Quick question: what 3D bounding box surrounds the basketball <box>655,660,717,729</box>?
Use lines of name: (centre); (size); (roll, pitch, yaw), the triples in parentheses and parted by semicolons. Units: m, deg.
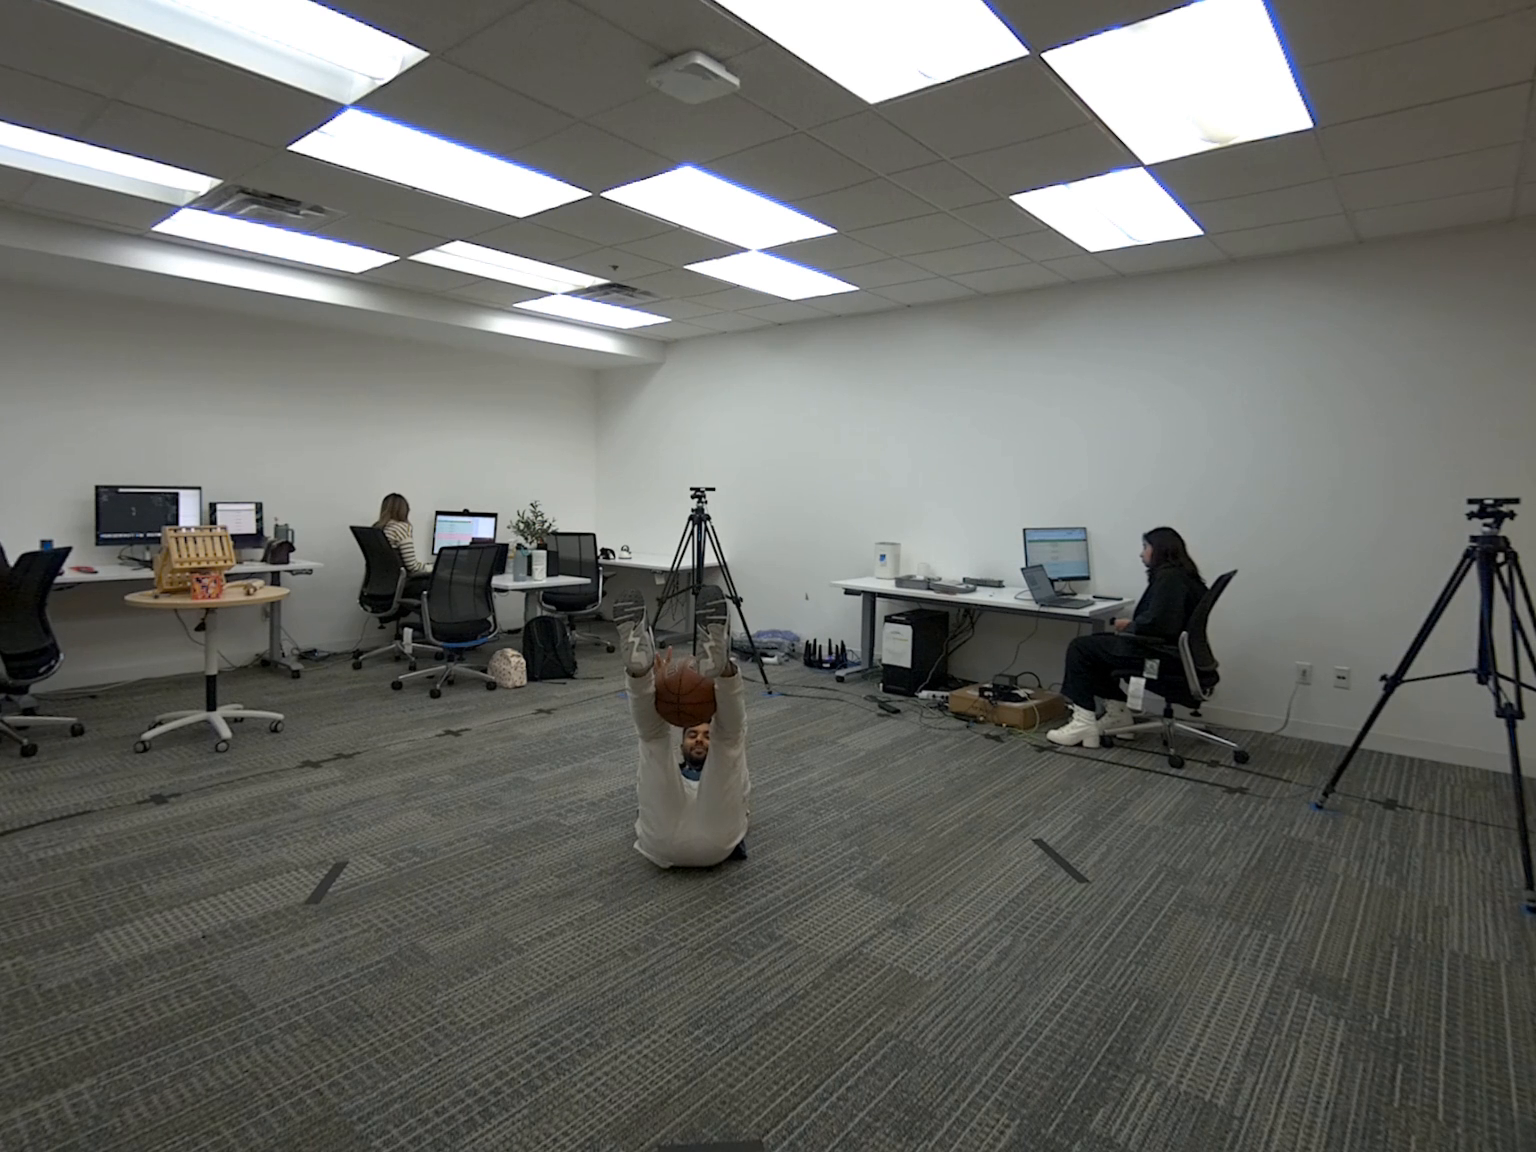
basketball: (-0.297, 0.401, 2.971); (0.235, 0.235, 0.237); (1, 4, -2)
